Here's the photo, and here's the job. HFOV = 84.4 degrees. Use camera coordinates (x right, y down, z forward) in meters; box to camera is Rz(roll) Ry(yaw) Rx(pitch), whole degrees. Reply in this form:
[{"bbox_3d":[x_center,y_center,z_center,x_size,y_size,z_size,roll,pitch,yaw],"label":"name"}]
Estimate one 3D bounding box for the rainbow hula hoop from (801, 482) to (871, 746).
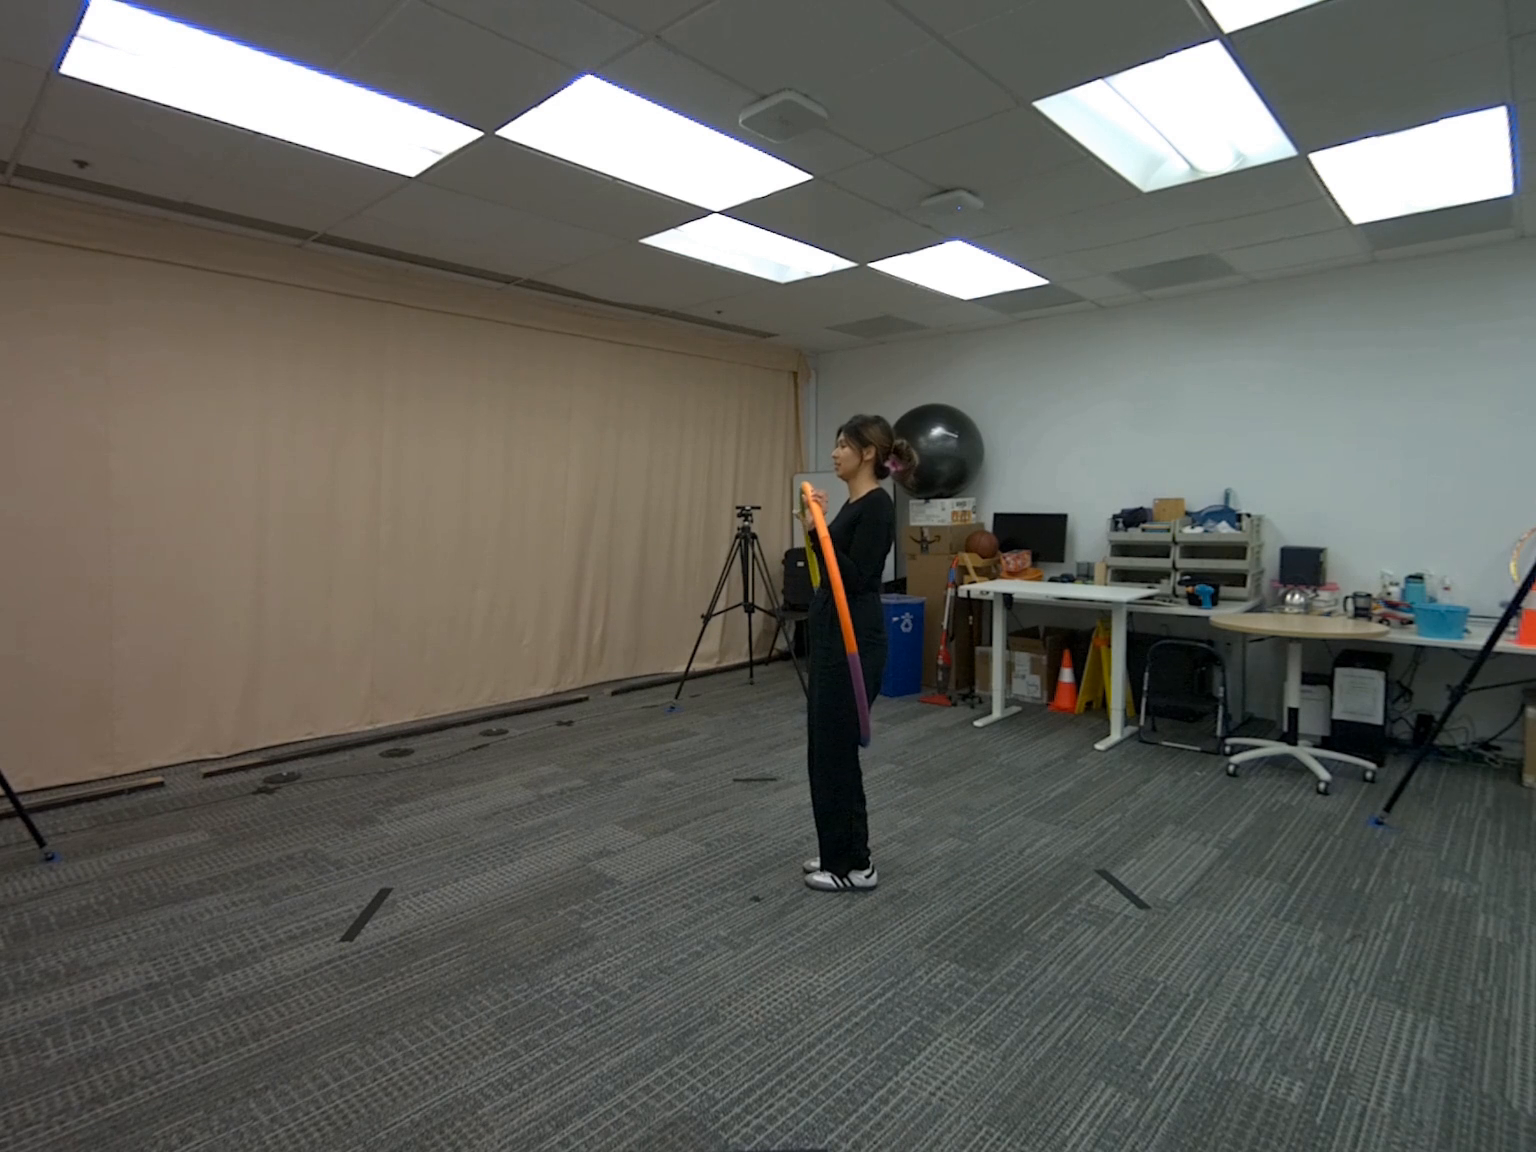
[{"bbox_3d":[0.240,0.137,3.098,0.035,0.976,0.980,-13,4,0],"label":"rainbow hula hoop"}]
